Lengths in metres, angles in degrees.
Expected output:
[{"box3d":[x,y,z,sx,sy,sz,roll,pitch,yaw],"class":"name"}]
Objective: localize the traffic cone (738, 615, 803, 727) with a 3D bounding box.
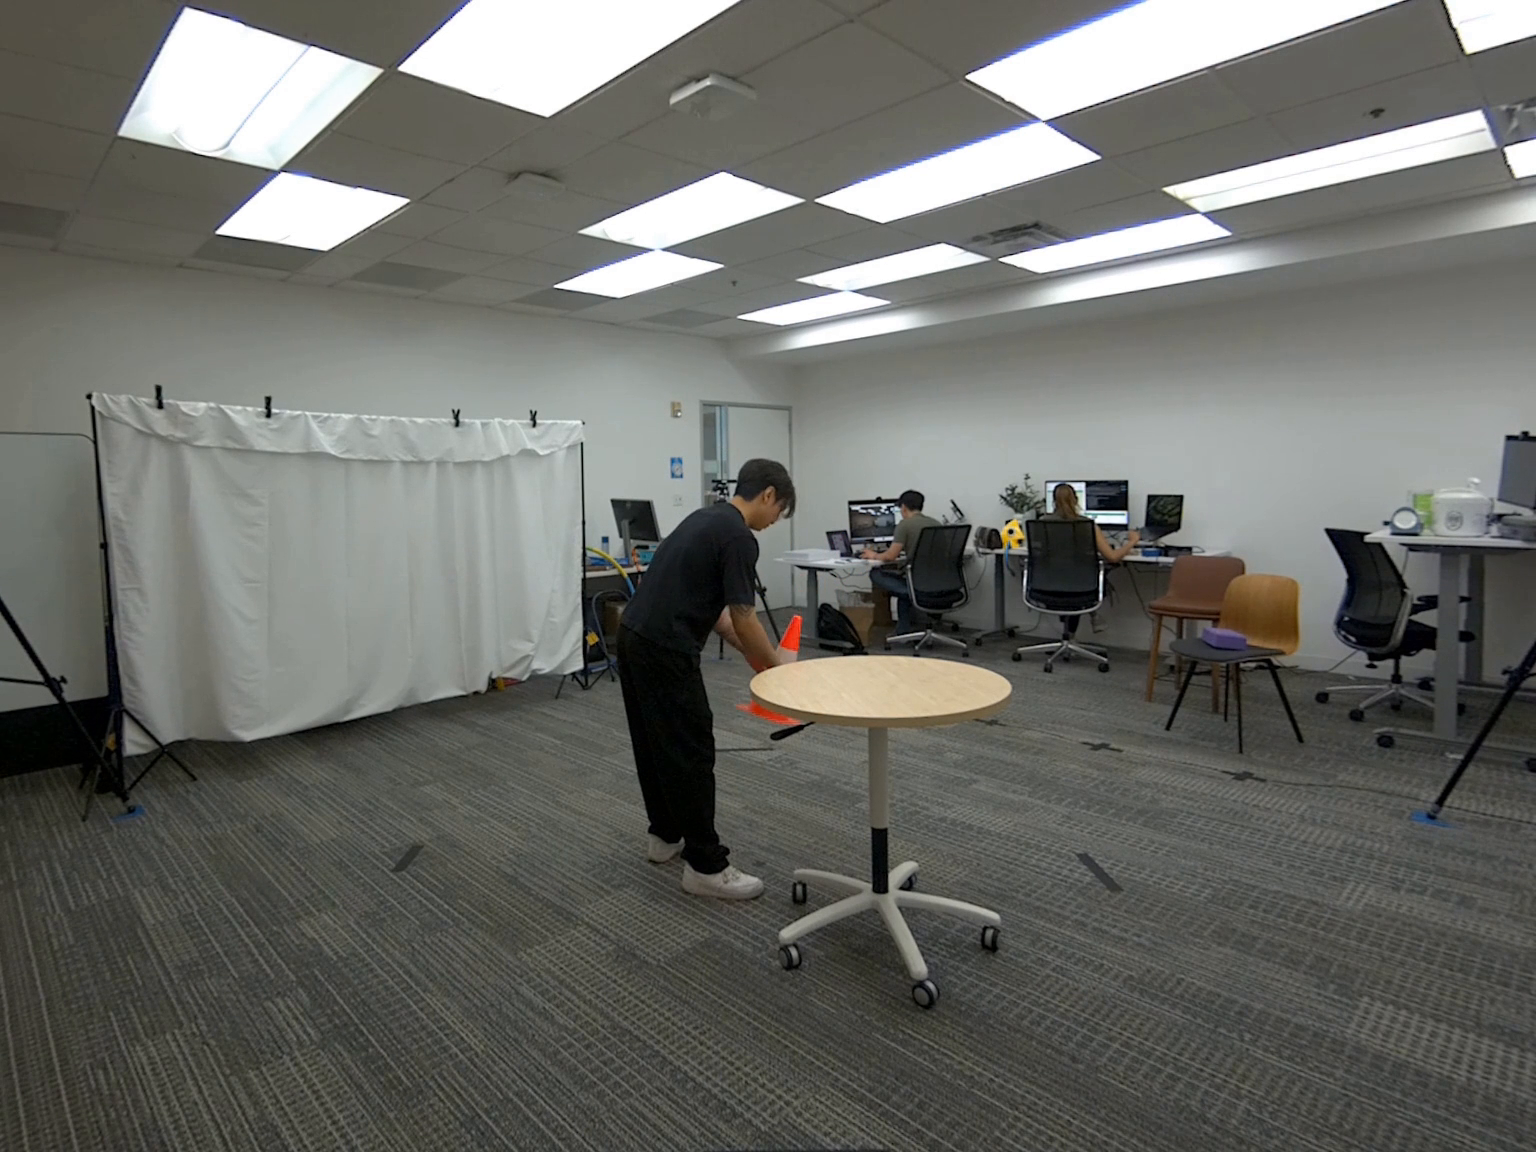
[{"box3d":[0.053,0.331,3.176,0.198,0.384,0.210,13,-2,-44],"class":"traffic cone"}]
